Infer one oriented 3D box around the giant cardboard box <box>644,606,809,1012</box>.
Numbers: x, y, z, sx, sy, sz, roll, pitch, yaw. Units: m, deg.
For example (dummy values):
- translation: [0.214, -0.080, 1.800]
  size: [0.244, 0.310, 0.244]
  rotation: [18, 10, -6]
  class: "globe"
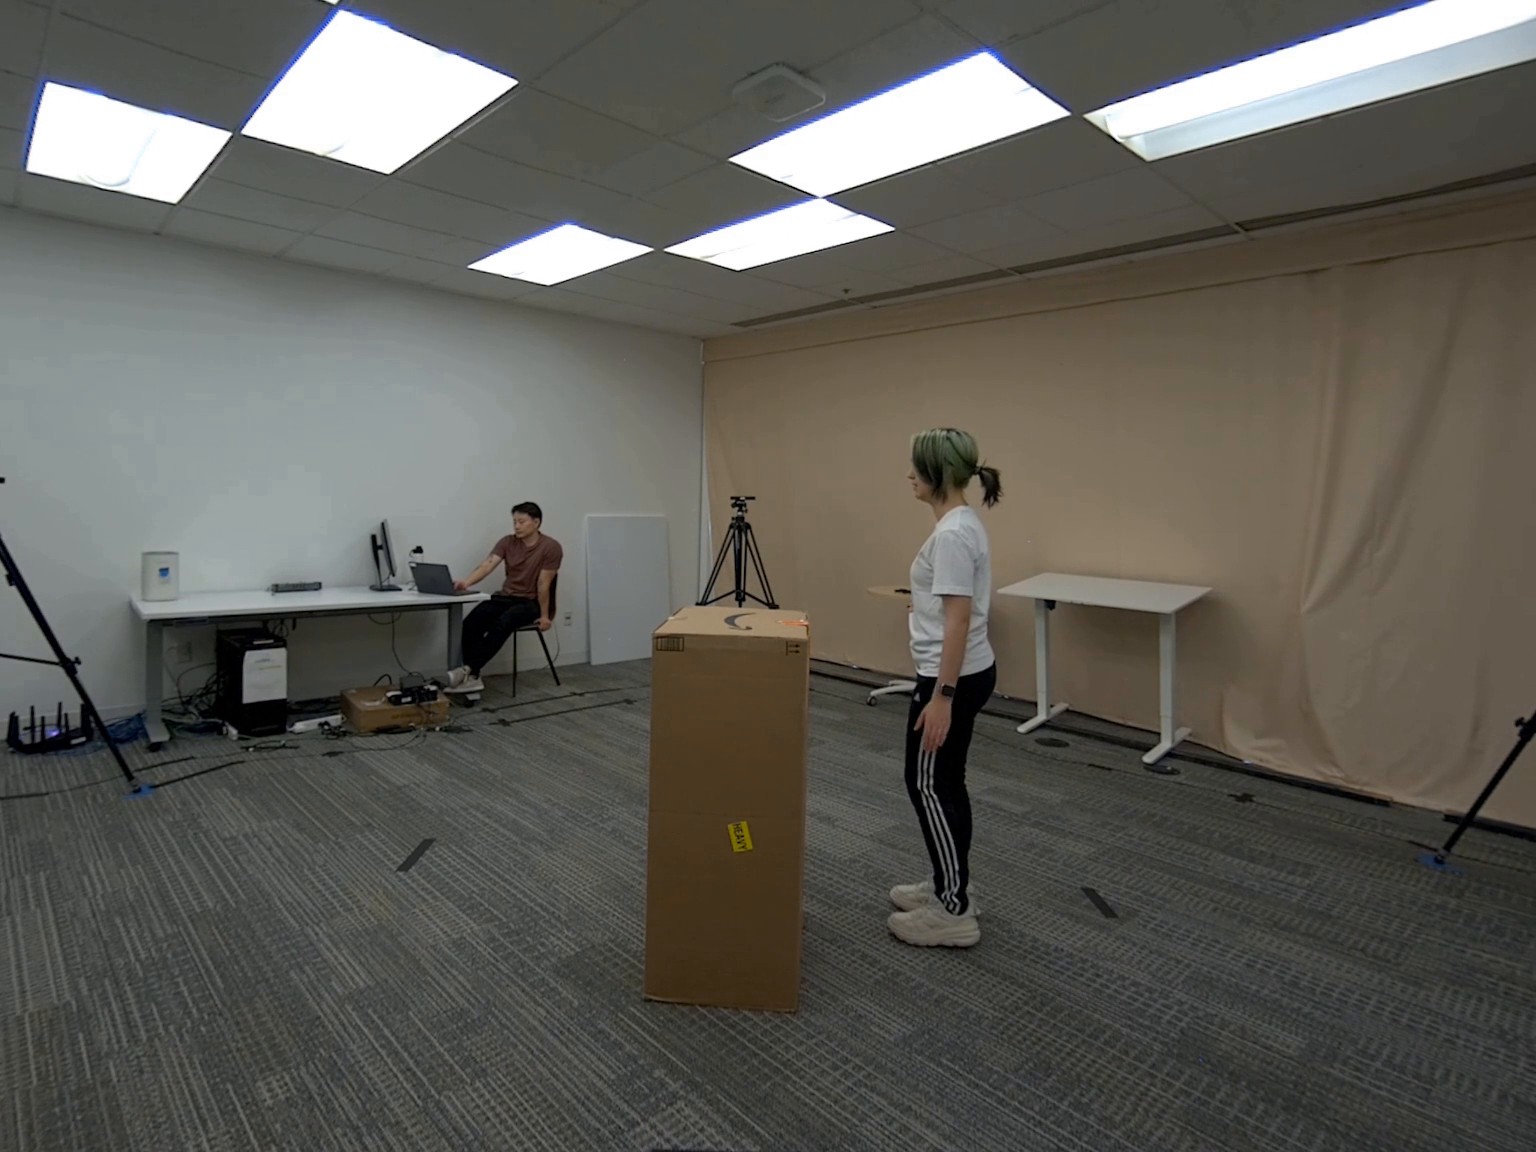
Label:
- translation: [-0.107, 0.650, 2.550]
  size: [0.428, 1.023, 0.576]
  rotation: [1, 3, 4]
  class: "giant cardboard box"
